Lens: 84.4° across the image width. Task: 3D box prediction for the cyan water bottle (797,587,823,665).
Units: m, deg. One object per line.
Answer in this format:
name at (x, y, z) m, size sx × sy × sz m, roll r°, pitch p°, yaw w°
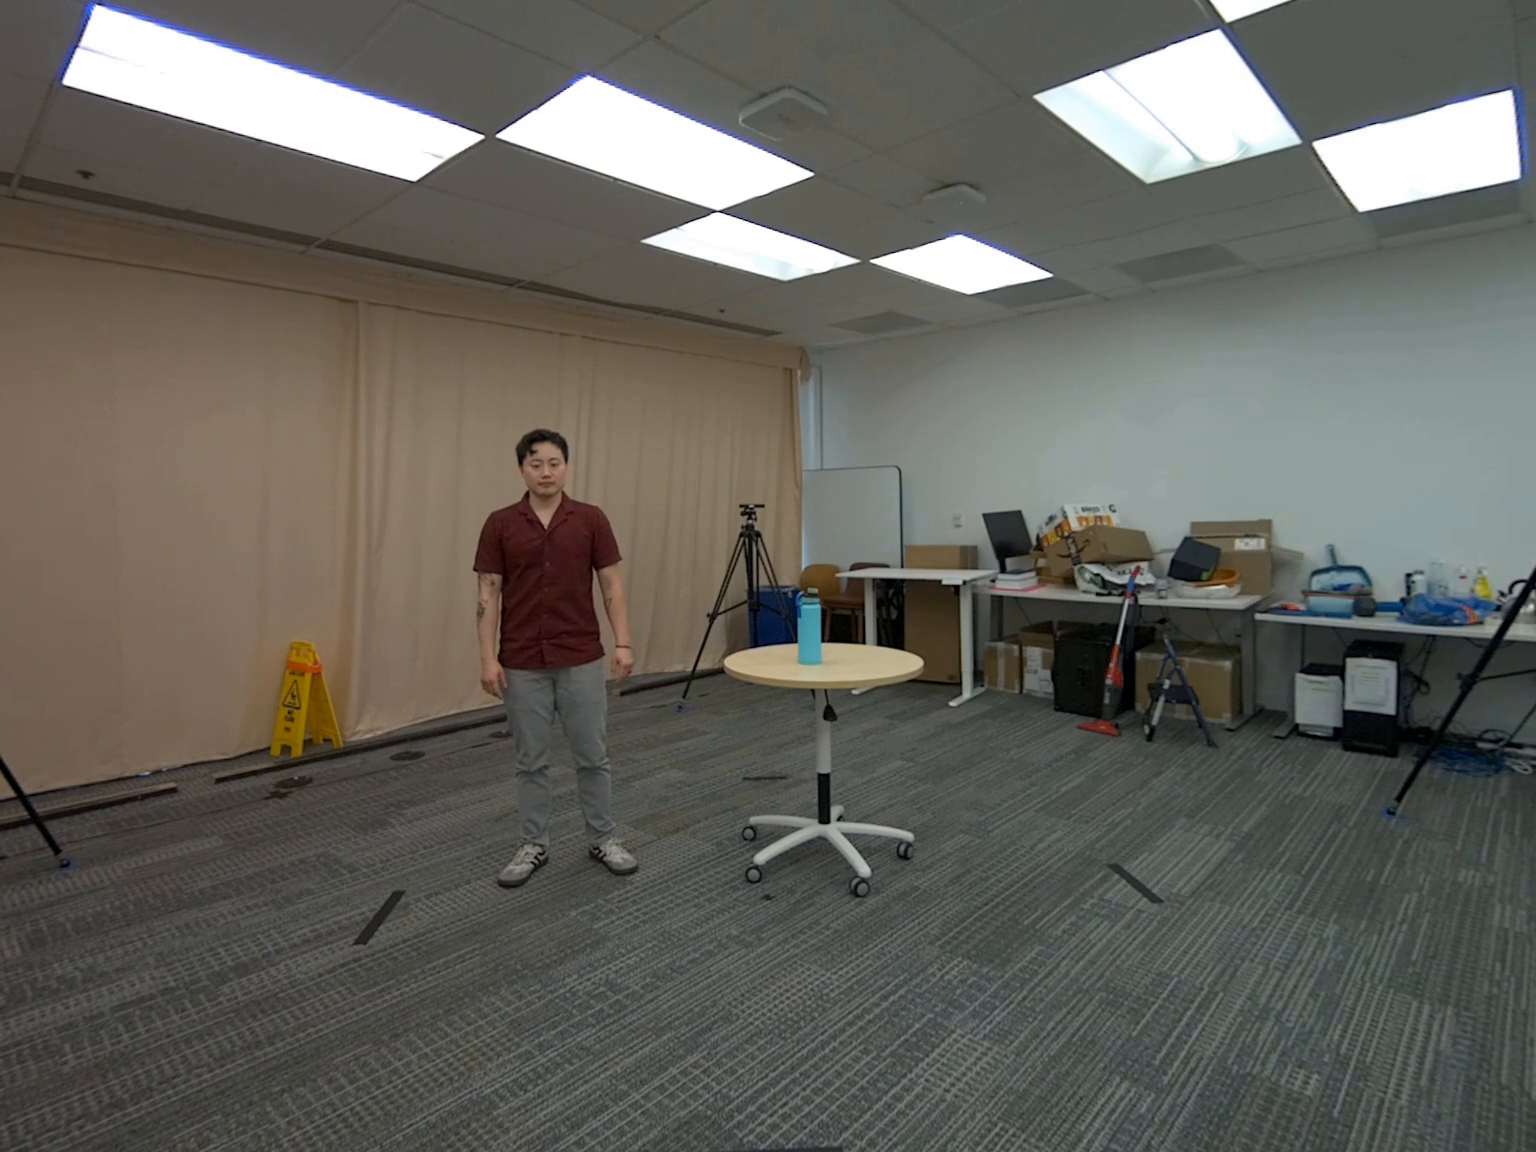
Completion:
cyan water bottle at (0.159, 0.194, 3.218) m, size 0.092 × 0.282 × 0.093 m, roll -3°, pitch 4°, yaw -2°
